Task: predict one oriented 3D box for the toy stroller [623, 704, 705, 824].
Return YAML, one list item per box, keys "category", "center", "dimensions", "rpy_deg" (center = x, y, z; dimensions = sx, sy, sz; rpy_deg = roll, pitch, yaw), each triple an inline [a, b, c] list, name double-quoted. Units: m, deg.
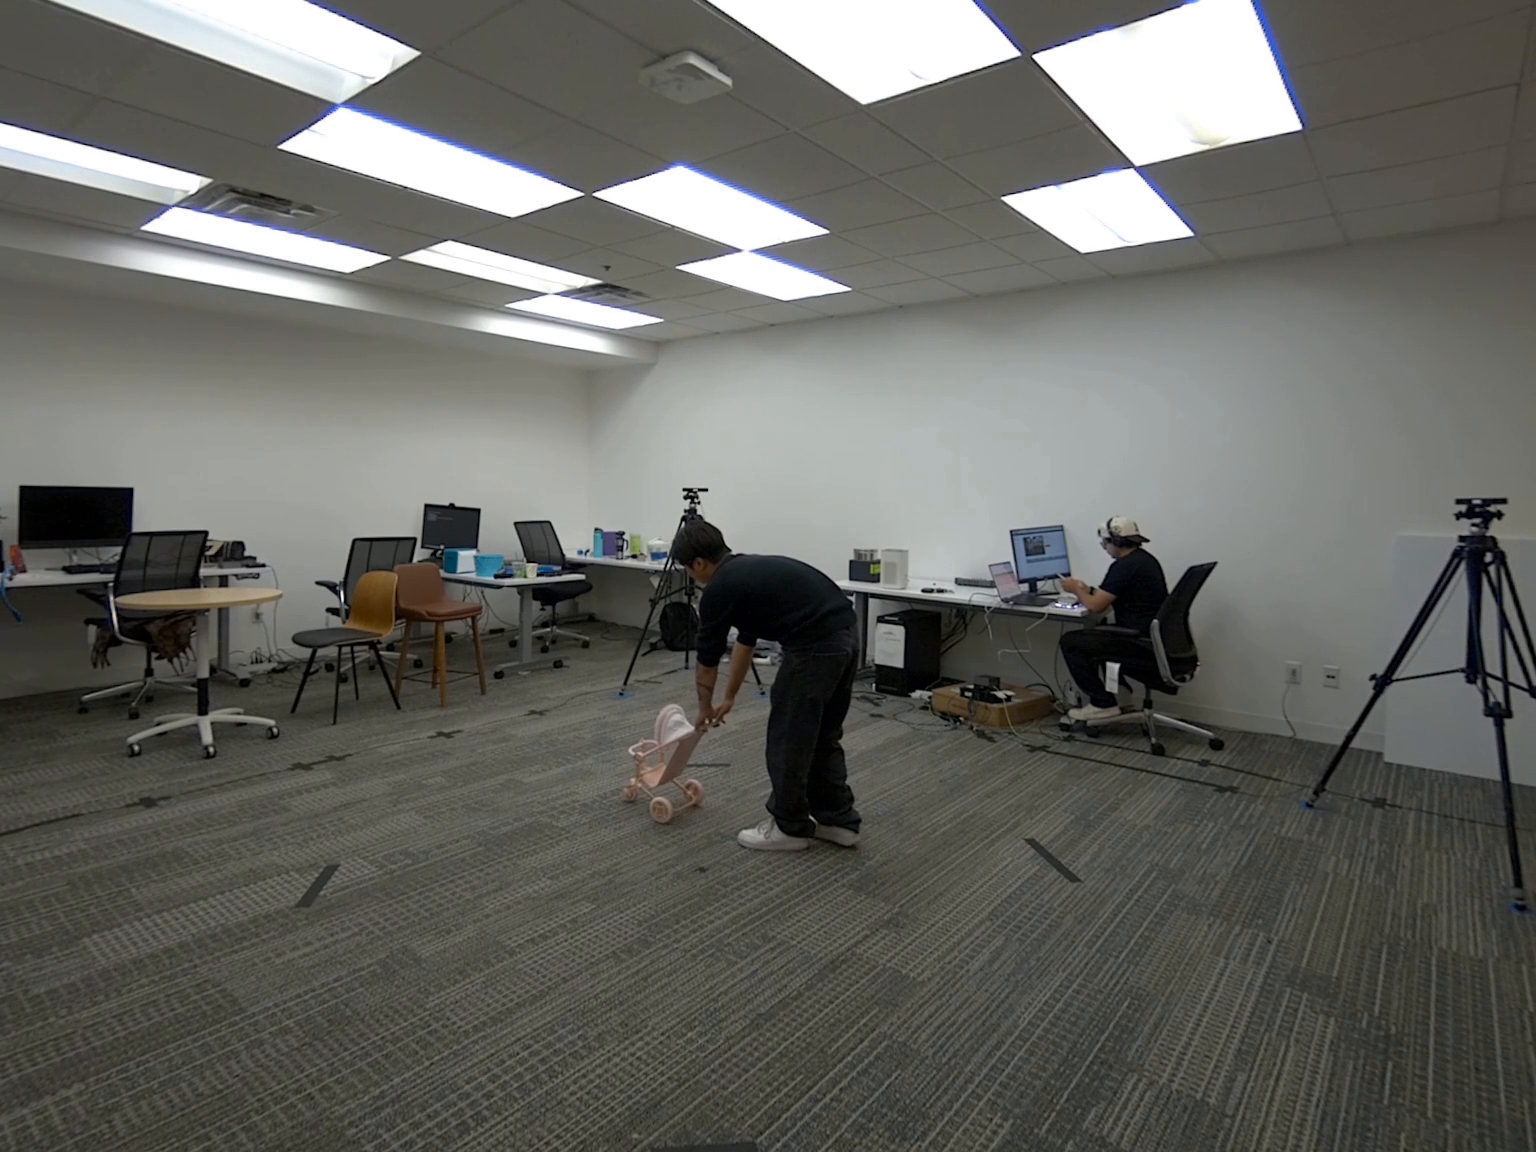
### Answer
- category: "toy stroller"
  center: [-0.446, 0.788, 3.667]
  dimensions: [0.354, 0.530, 0.273]
  rpy_deg: [22, 15, 31]
